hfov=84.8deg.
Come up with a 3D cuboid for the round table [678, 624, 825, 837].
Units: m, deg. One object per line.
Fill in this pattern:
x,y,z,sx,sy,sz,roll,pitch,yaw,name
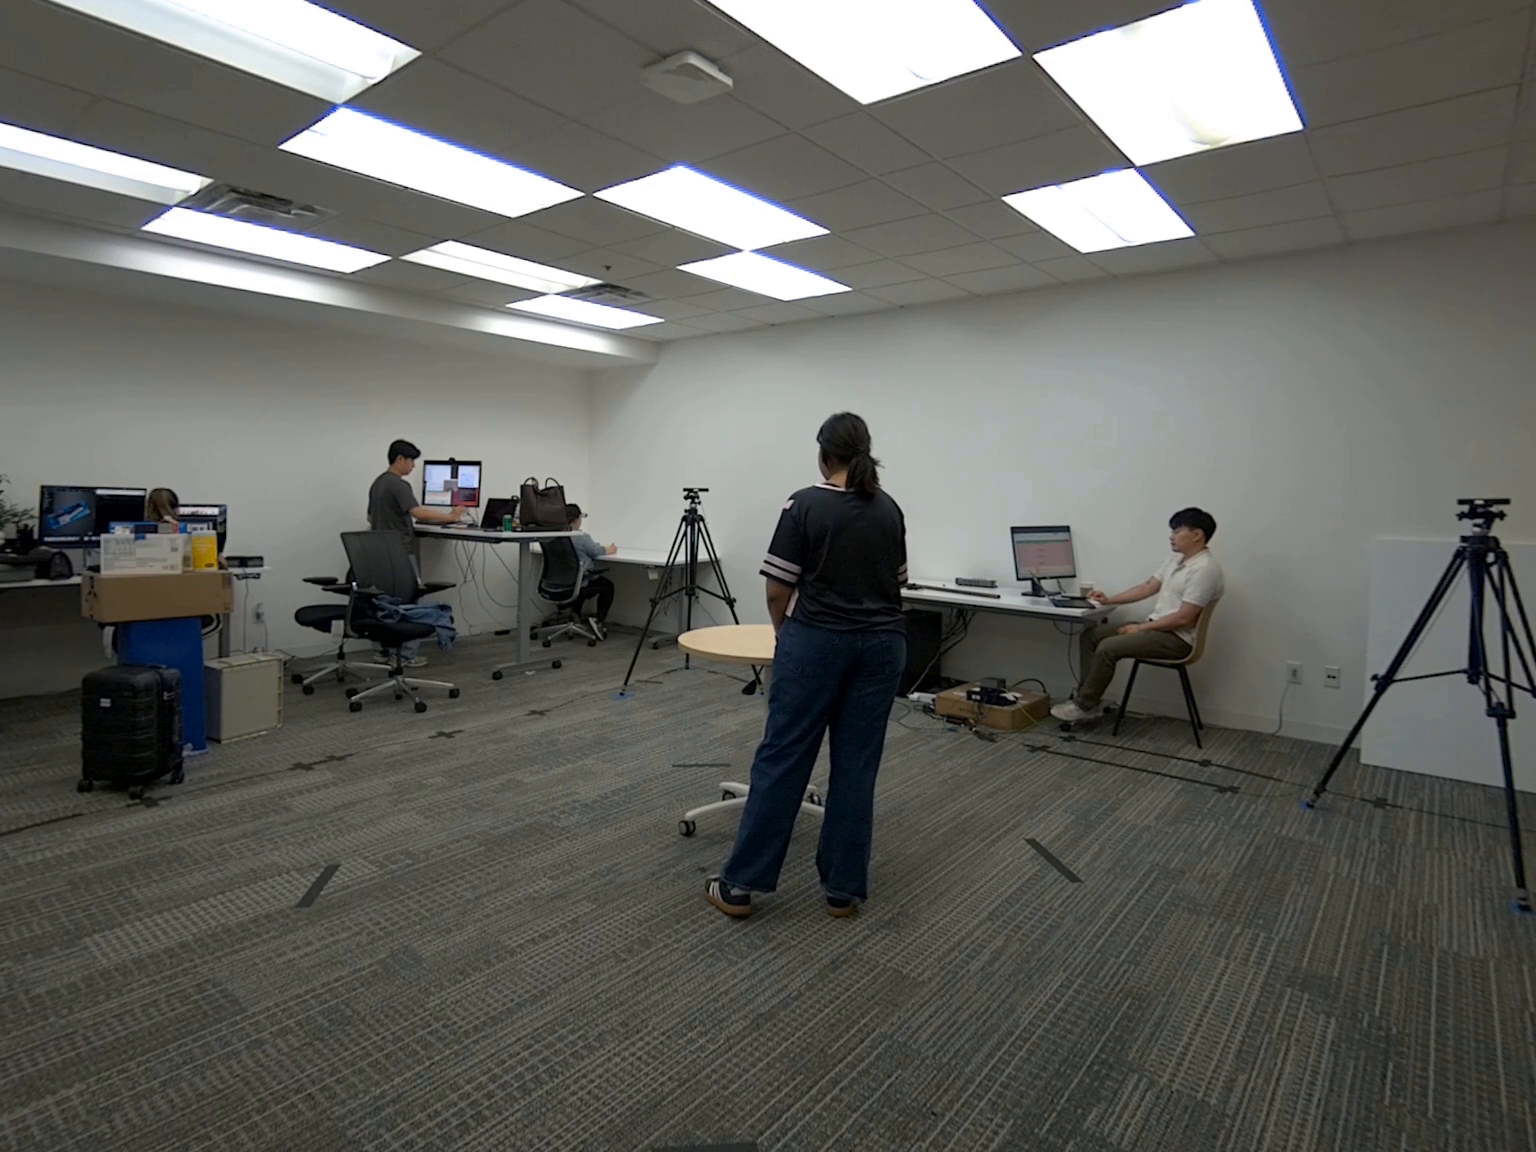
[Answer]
0.001,0.648,3.479,0.763,0.791,0.768,1,4,-2,round table
